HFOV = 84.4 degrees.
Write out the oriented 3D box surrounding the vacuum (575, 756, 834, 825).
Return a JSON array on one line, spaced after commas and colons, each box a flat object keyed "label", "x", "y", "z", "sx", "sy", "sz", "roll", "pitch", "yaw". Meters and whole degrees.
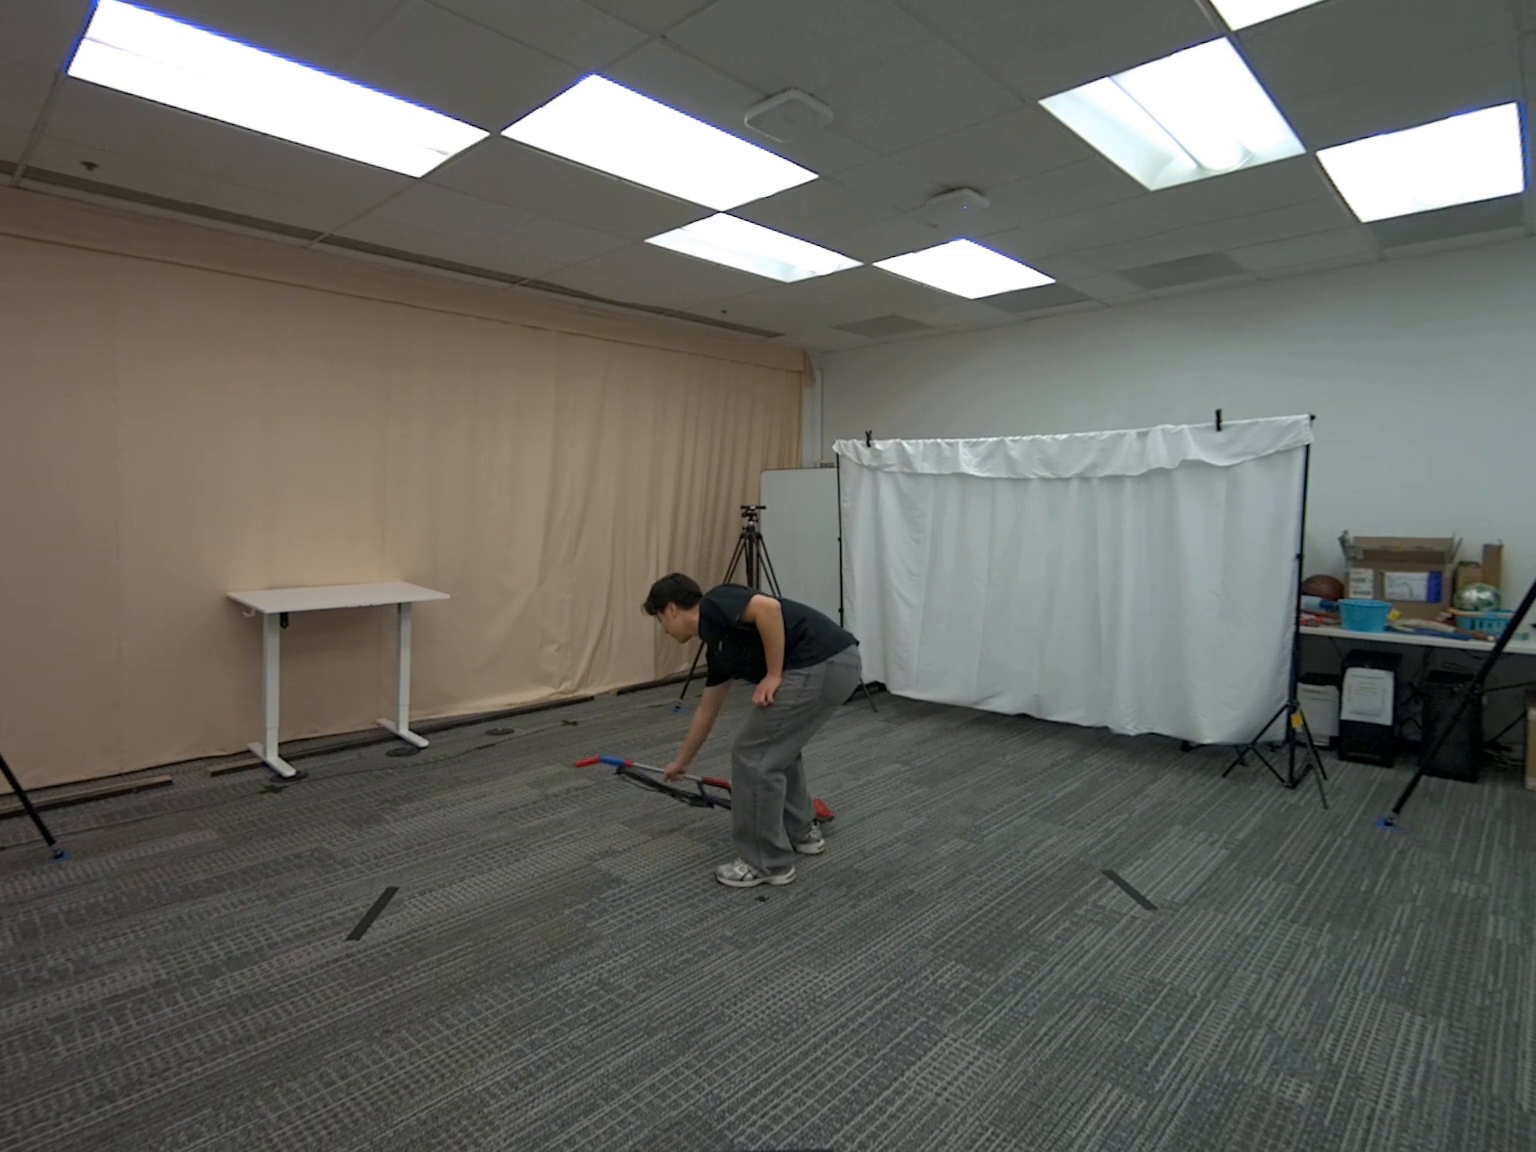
[{"label": "vacuum", "x": -0.301, "y": 0.904, "z": 3.584, "sx": 1.041, "sy": 0.144, "sz": 0.254, "roll": 15, "pitch": 1, "yaw": -6}]
